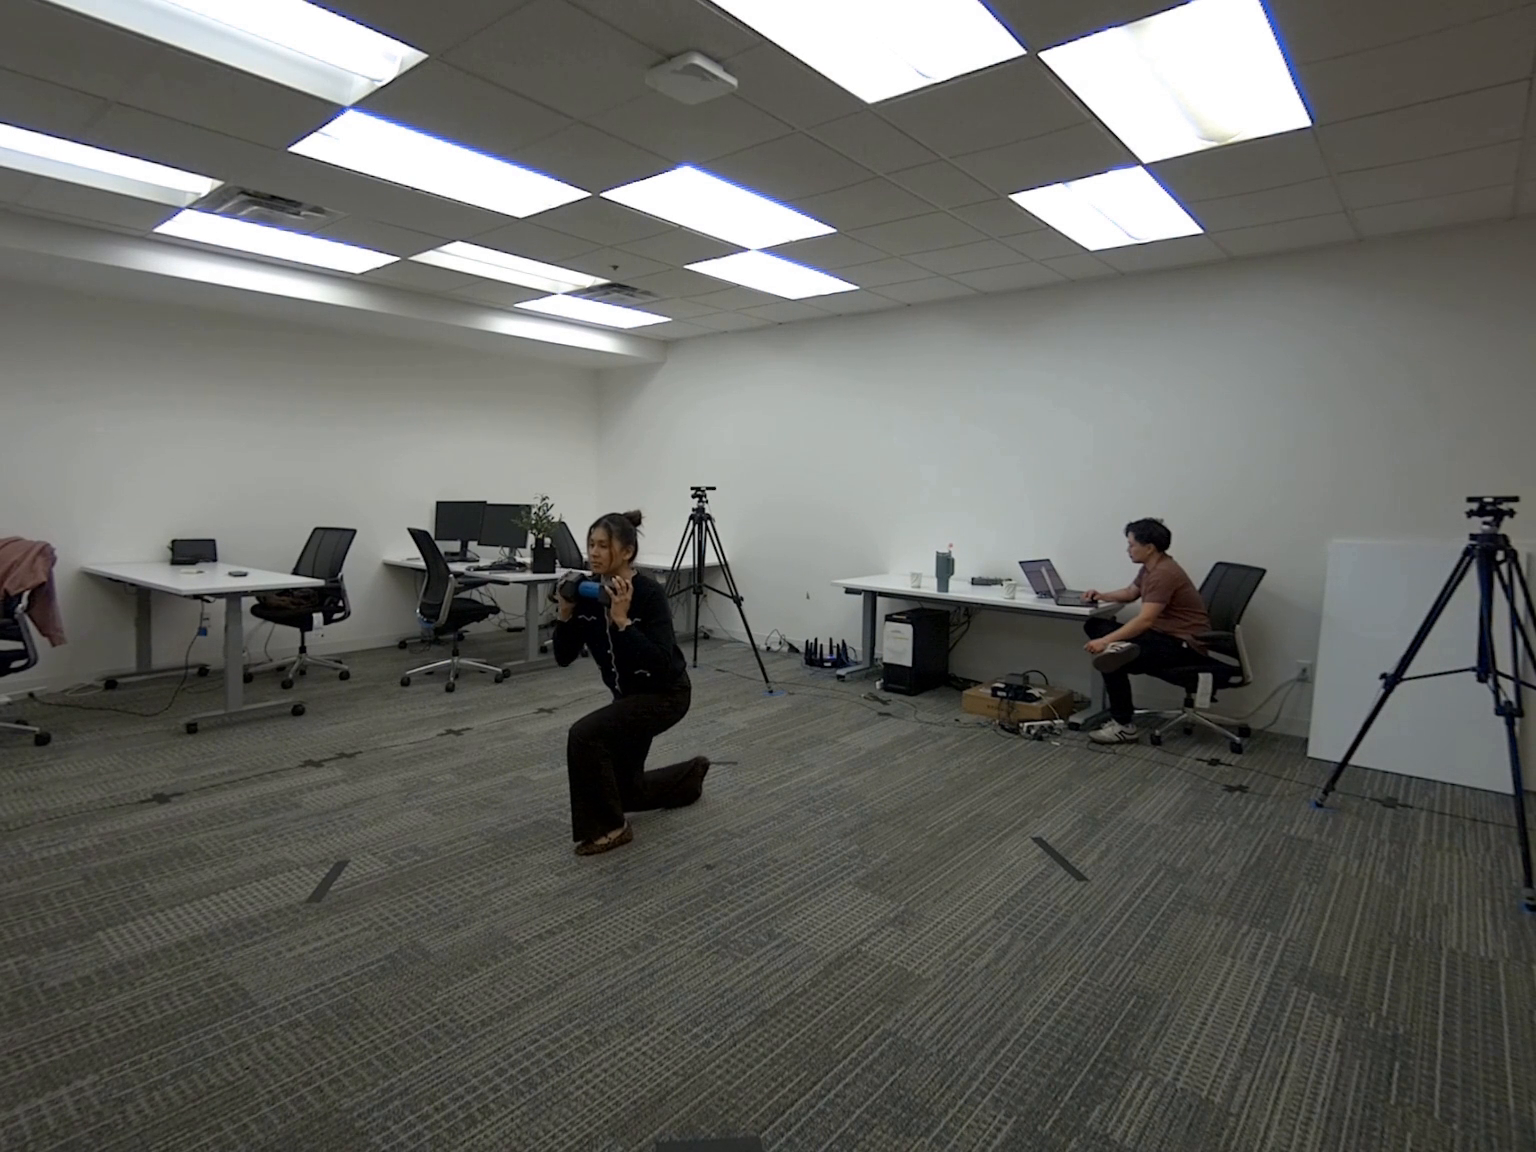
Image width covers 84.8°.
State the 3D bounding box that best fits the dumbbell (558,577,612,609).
[{"bbox_3d":[-0.695,0.047,3.280,0.303,0.110,0.118,7,-22,33],"label":"dumbbell"}]
